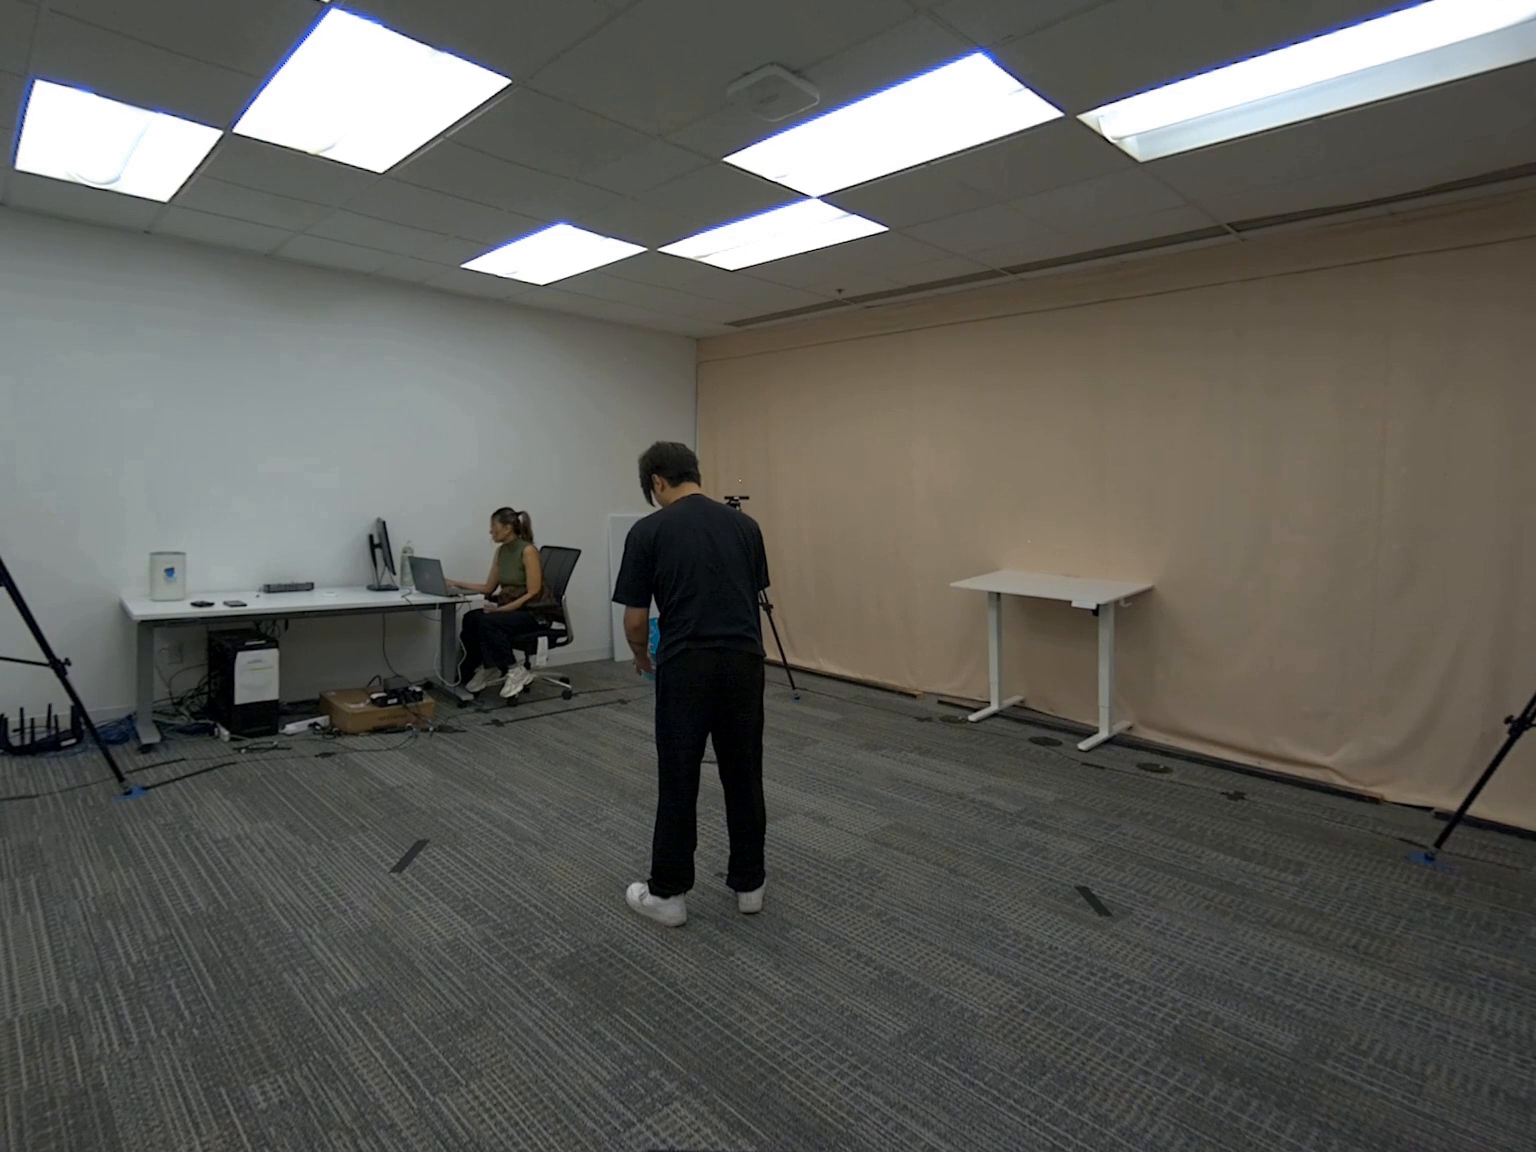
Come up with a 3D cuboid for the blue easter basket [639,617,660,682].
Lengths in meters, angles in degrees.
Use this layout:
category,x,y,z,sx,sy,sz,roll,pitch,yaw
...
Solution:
category,x,y,z,sx,sy,sz,roll,pitch,yaw
blue easter basket,-0.413,0.290,3.185,0.242,0.153,0.248,8,31,-6
